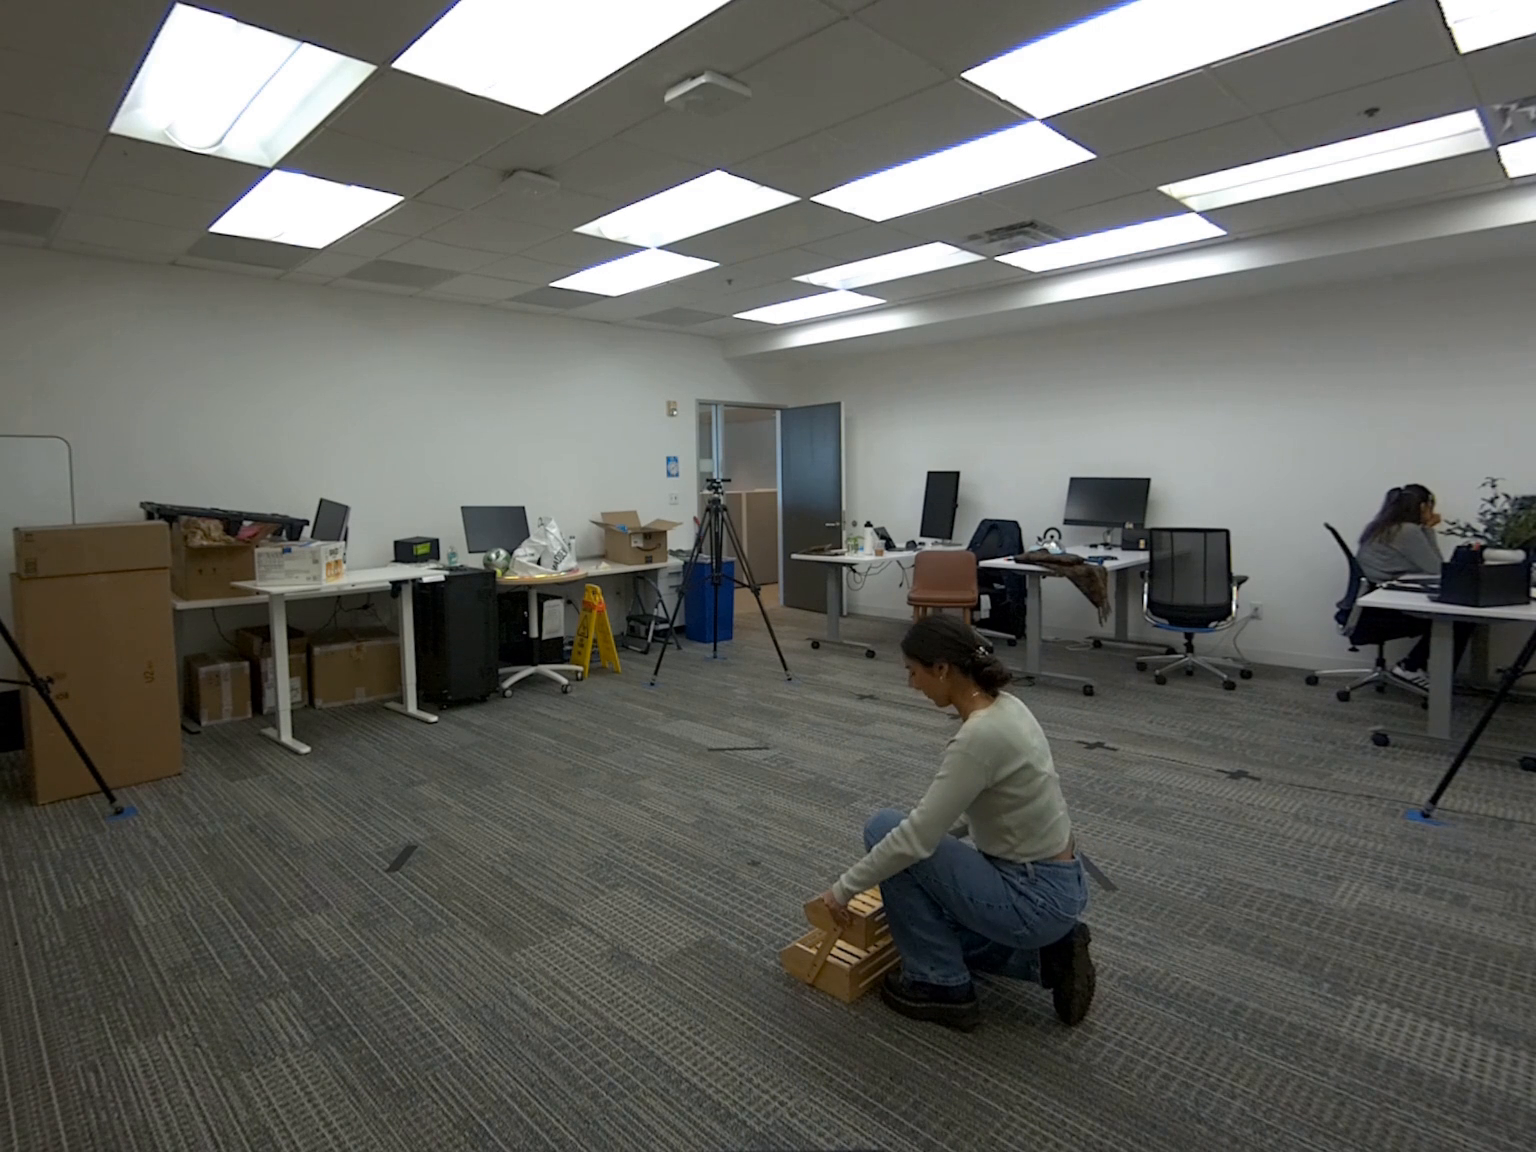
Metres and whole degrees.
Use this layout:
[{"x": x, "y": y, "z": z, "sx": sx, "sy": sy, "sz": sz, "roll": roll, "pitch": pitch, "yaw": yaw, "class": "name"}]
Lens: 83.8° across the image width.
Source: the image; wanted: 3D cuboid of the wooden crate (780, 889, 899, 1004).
[{"x": 0.242, "y": 0.979, "z": 2.434, "sx": 0.311, "sy": 0.272, "sz": 0.316, "roll": 5, "pitch": 8, "yaw": 44, "class": "wooden crate"}]
